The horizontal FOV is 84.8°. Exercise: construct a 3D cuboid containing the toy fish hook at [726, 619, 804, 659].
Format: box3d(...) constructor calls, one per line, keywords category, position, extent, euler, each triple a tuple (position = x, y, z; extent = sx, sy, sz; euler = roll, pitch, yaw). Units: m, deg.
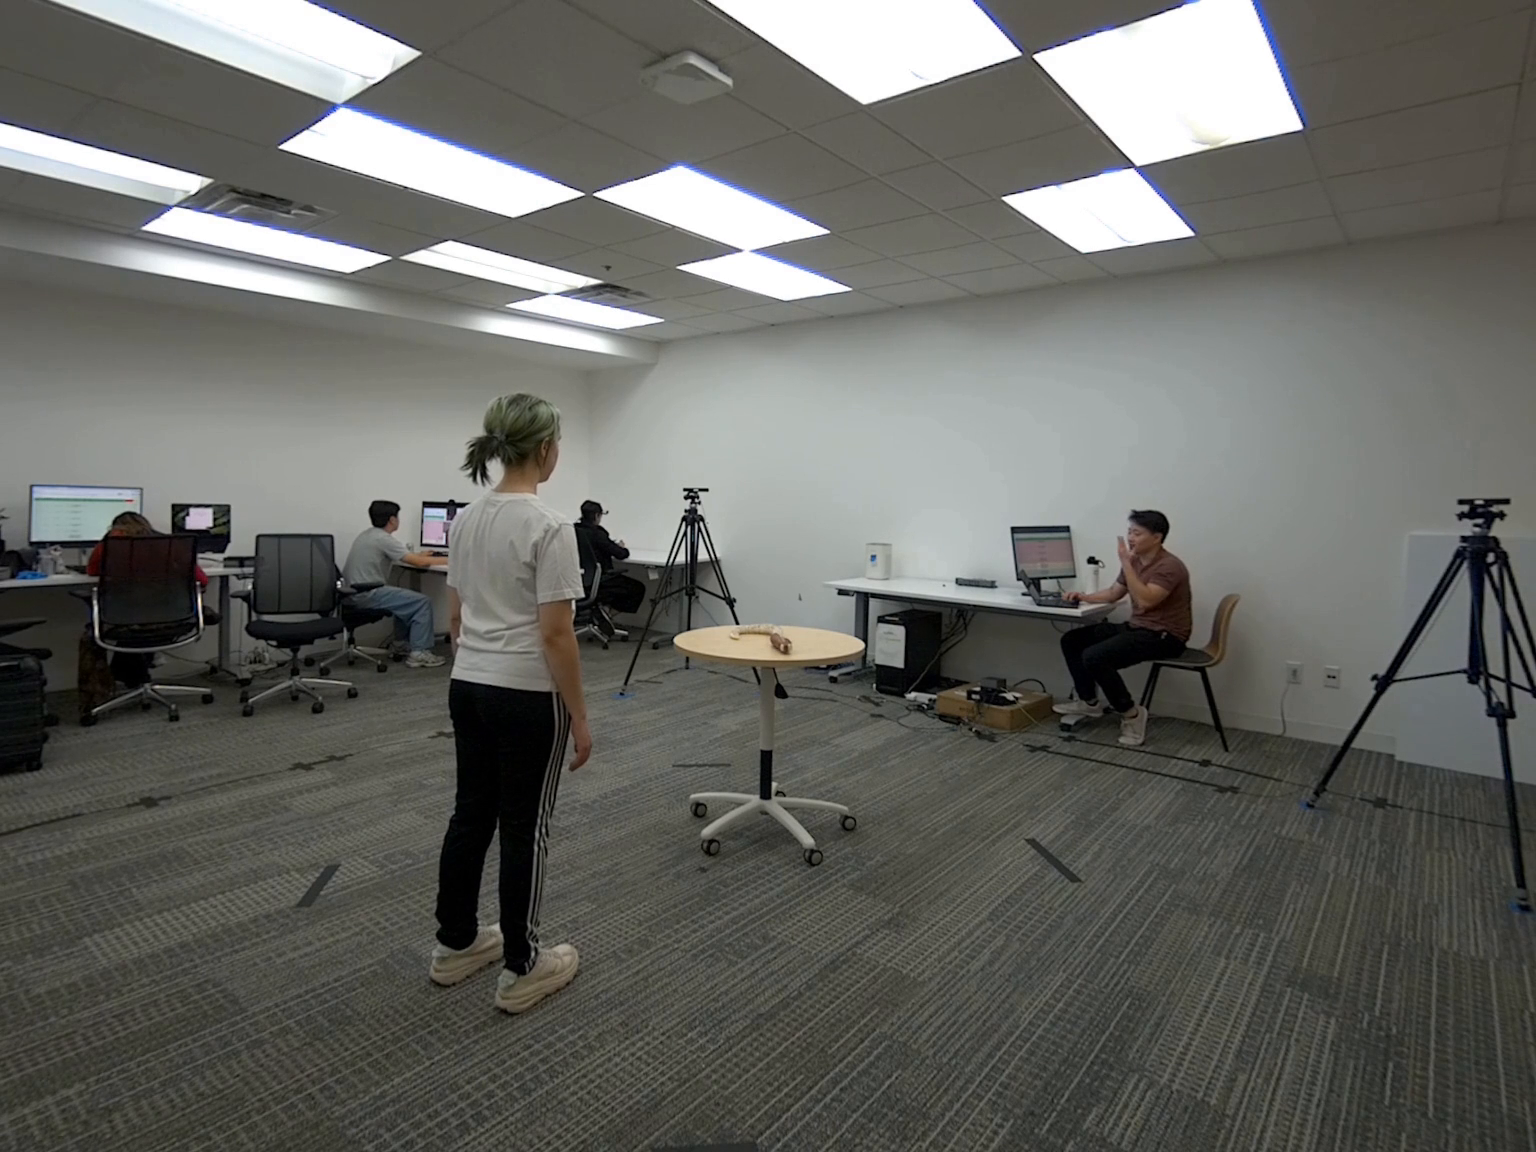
box3d(category="toy fish hook", position=(-0.025, 0.246, 3.383), extent=(0.223, 0.048, 0.512), euler=(-7, 6, -9))
